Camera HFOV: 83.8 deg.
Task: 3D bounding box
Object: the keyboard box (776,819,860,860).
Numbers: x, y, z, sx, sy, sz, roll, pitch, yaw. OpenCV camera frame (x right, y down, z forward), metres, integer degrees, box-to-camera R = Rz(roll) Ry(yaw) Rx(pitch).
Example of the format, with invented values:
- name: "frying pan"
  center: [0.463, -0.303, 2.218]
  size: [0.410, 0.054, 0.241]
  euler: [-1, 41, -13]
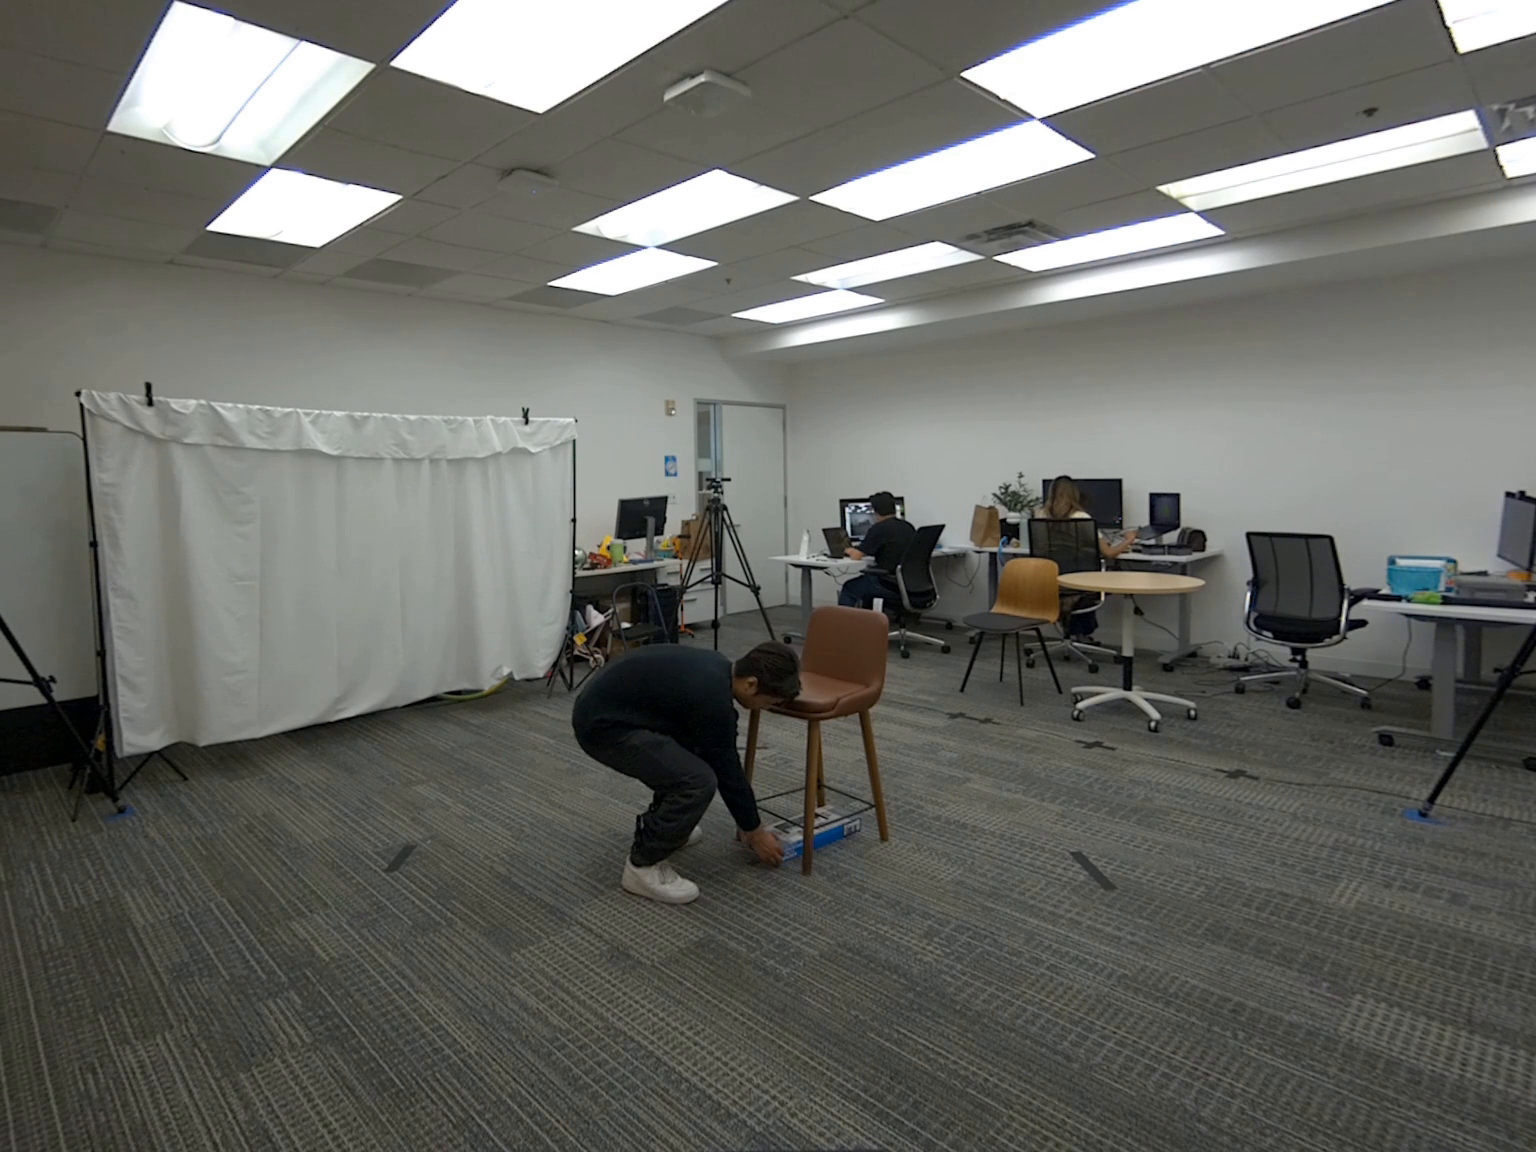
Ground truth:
- name: "keyboard box"
  center: [0.155, 0.993, 3.297]
  size: [0.426, 0.059, 0.182]
  euler: [-7, 11, -40]
